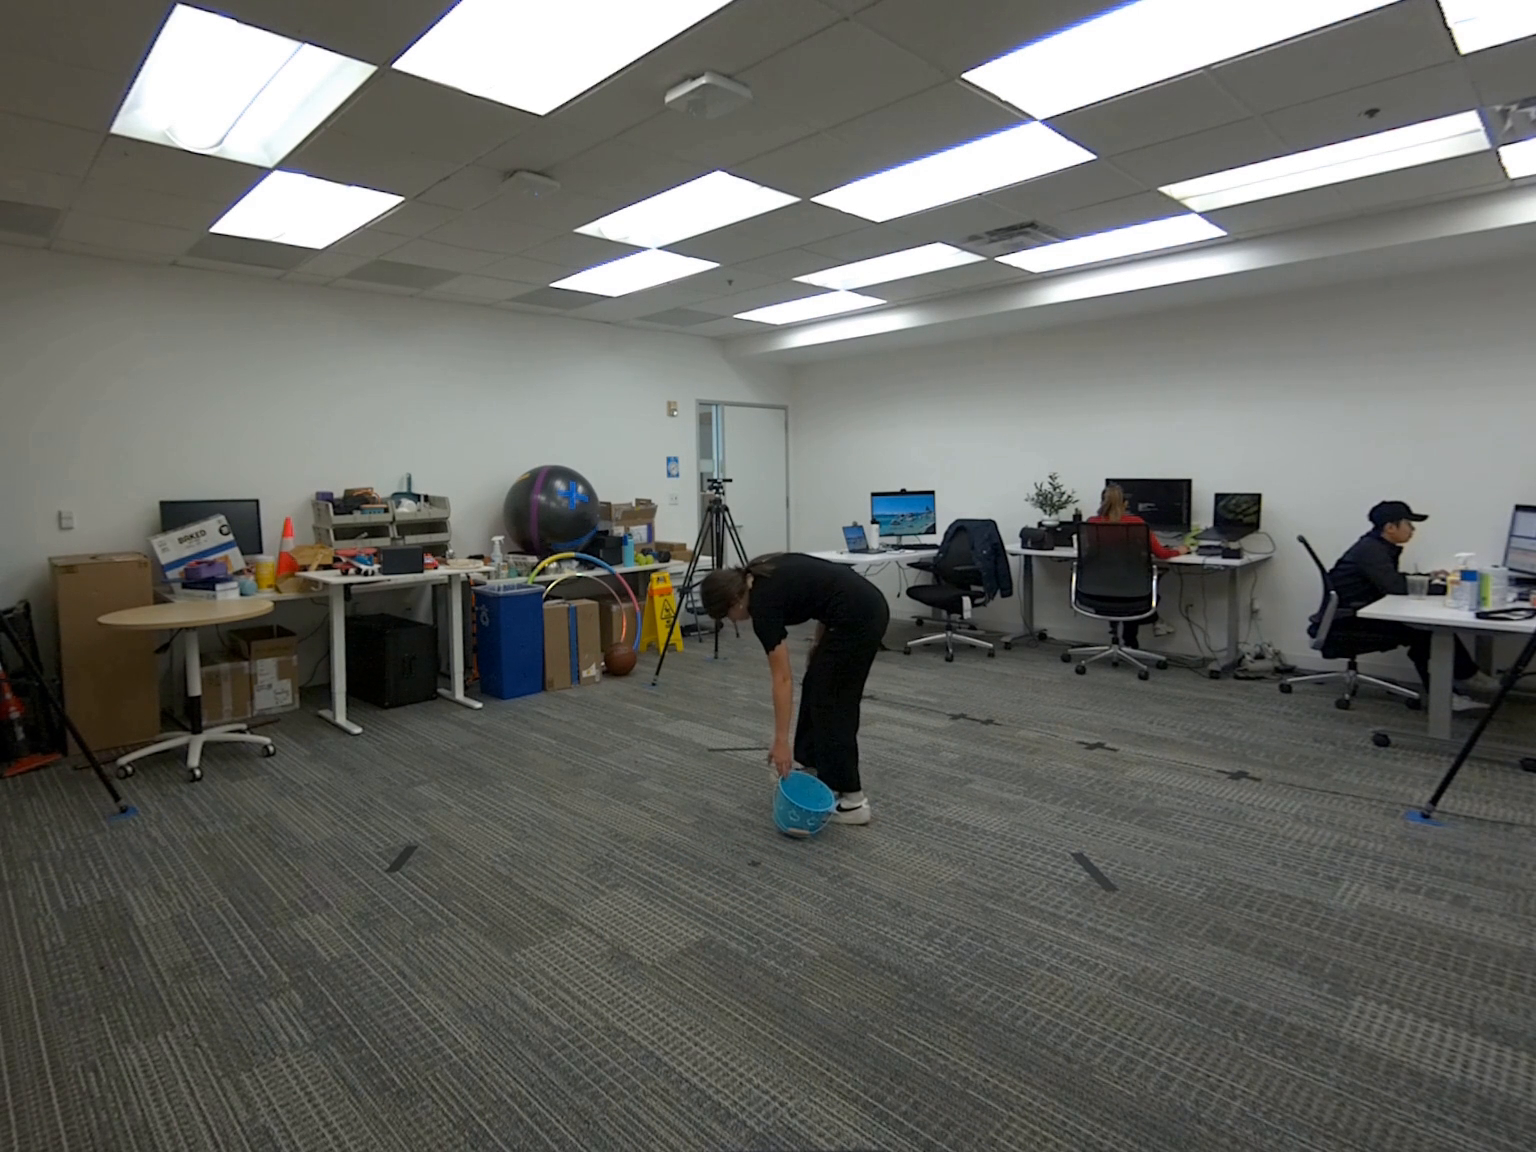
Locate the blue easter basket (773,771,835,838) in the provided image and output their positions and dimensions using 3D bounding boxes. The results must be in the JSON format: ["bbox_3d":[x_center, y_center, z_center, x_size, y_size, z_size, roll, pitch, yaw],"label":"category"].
[{"bbox_3d":[0.135,0.908,3.370,0.242,0.154,0.248,15,20,-7],"label":"blue easter basket"}]
